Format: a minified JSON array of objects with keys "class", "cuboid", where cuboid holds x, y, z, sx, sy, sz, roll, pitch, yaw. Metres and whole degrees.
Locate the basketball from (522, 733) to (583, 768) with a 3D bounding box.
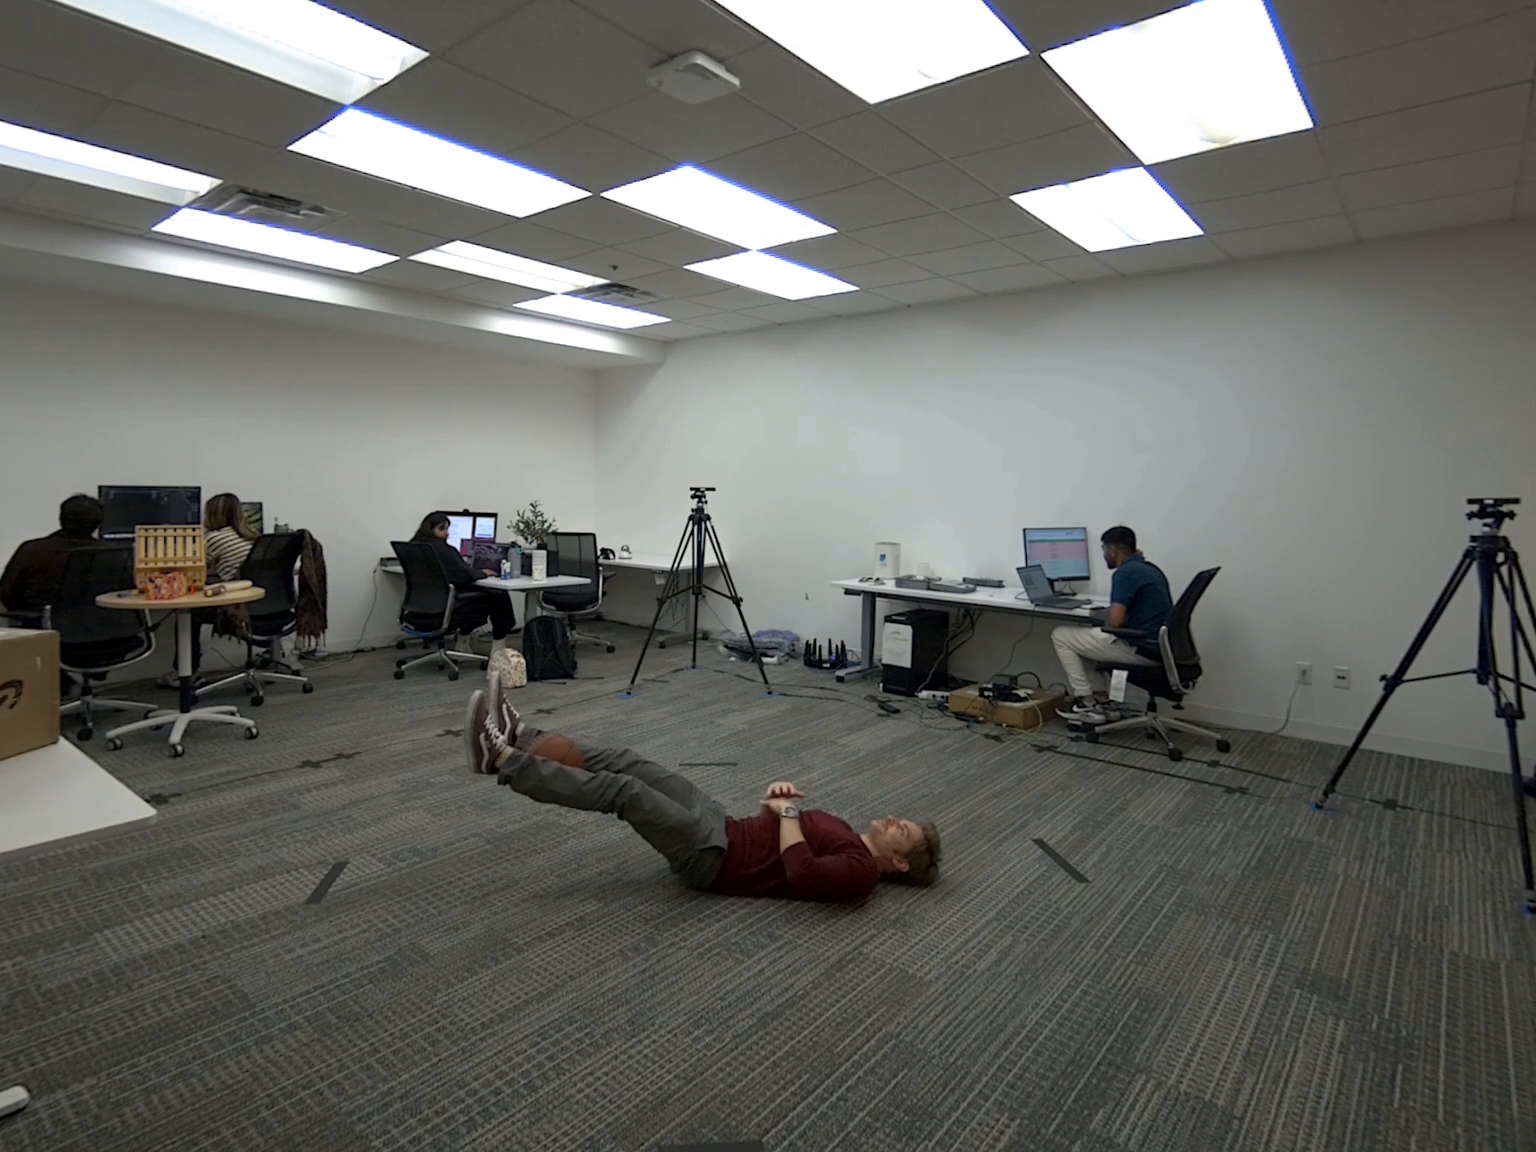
[{"class":"basketball","cuboid":[-0.769,0.668,2.989,0.235,0.235,0.237,1,4,-2]}]
